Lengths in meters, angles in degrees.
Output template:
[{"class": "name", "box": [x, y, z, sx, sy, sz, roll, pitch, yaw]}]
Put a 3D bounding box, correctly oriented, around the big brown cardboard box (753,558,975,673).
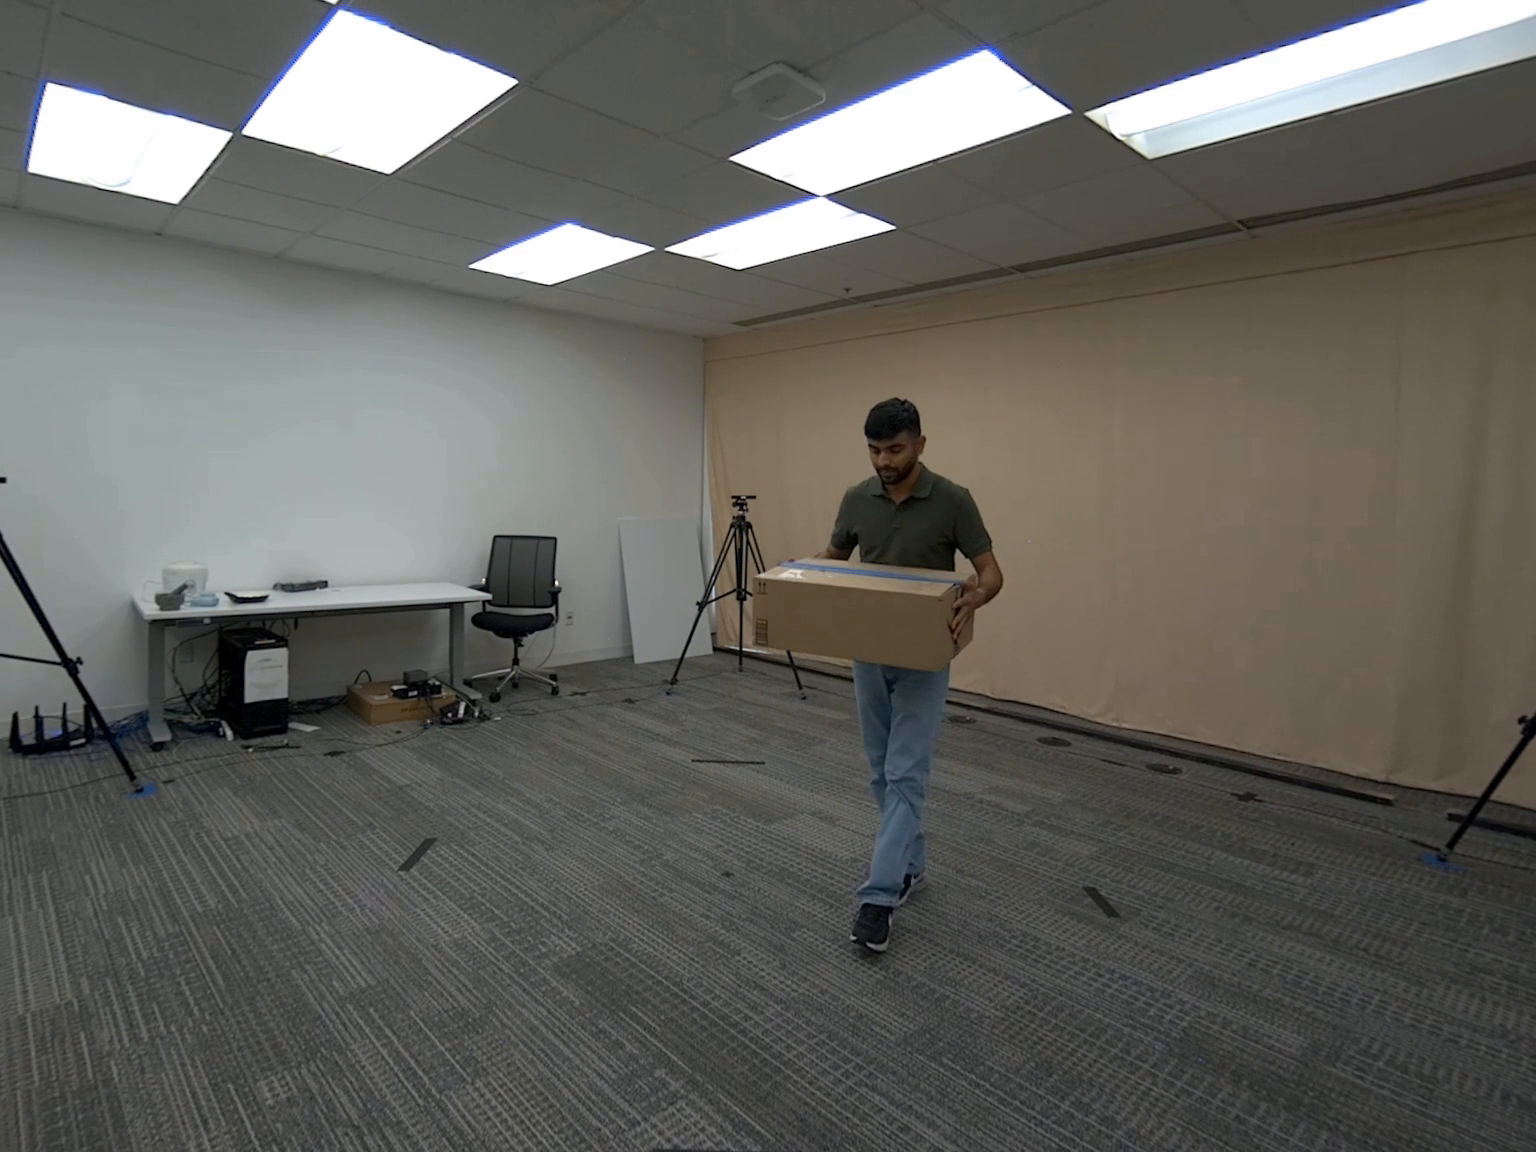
[{"class": "big brown cardboard box", "box": [0.289, 0.103, 2.566, 0.601, 0.231, 0.412, 6, 11, 25]}]
